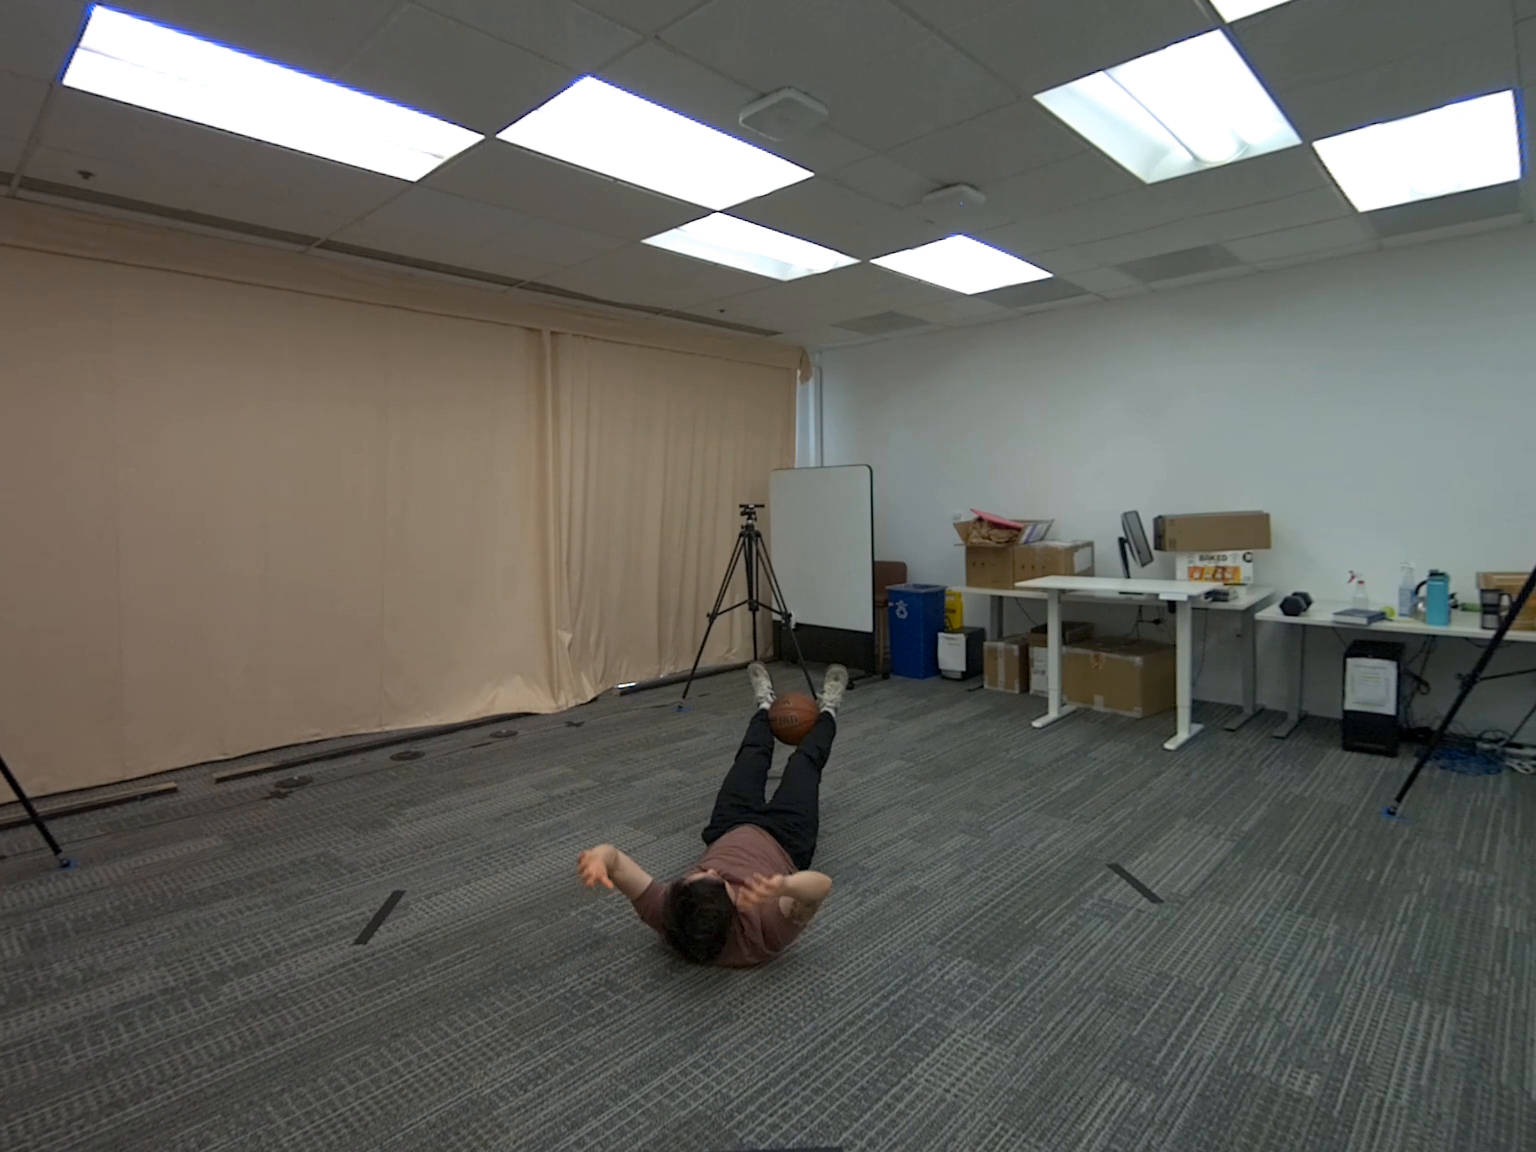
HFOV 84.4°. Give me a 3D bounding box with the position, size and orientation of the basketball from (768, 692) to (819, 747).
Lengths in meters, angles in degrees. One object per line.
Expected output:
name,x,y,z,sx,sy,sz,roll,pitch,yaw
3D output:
basketball,0.114,0.629,3.704,0.235,0.235,0.237,3,5,-2
